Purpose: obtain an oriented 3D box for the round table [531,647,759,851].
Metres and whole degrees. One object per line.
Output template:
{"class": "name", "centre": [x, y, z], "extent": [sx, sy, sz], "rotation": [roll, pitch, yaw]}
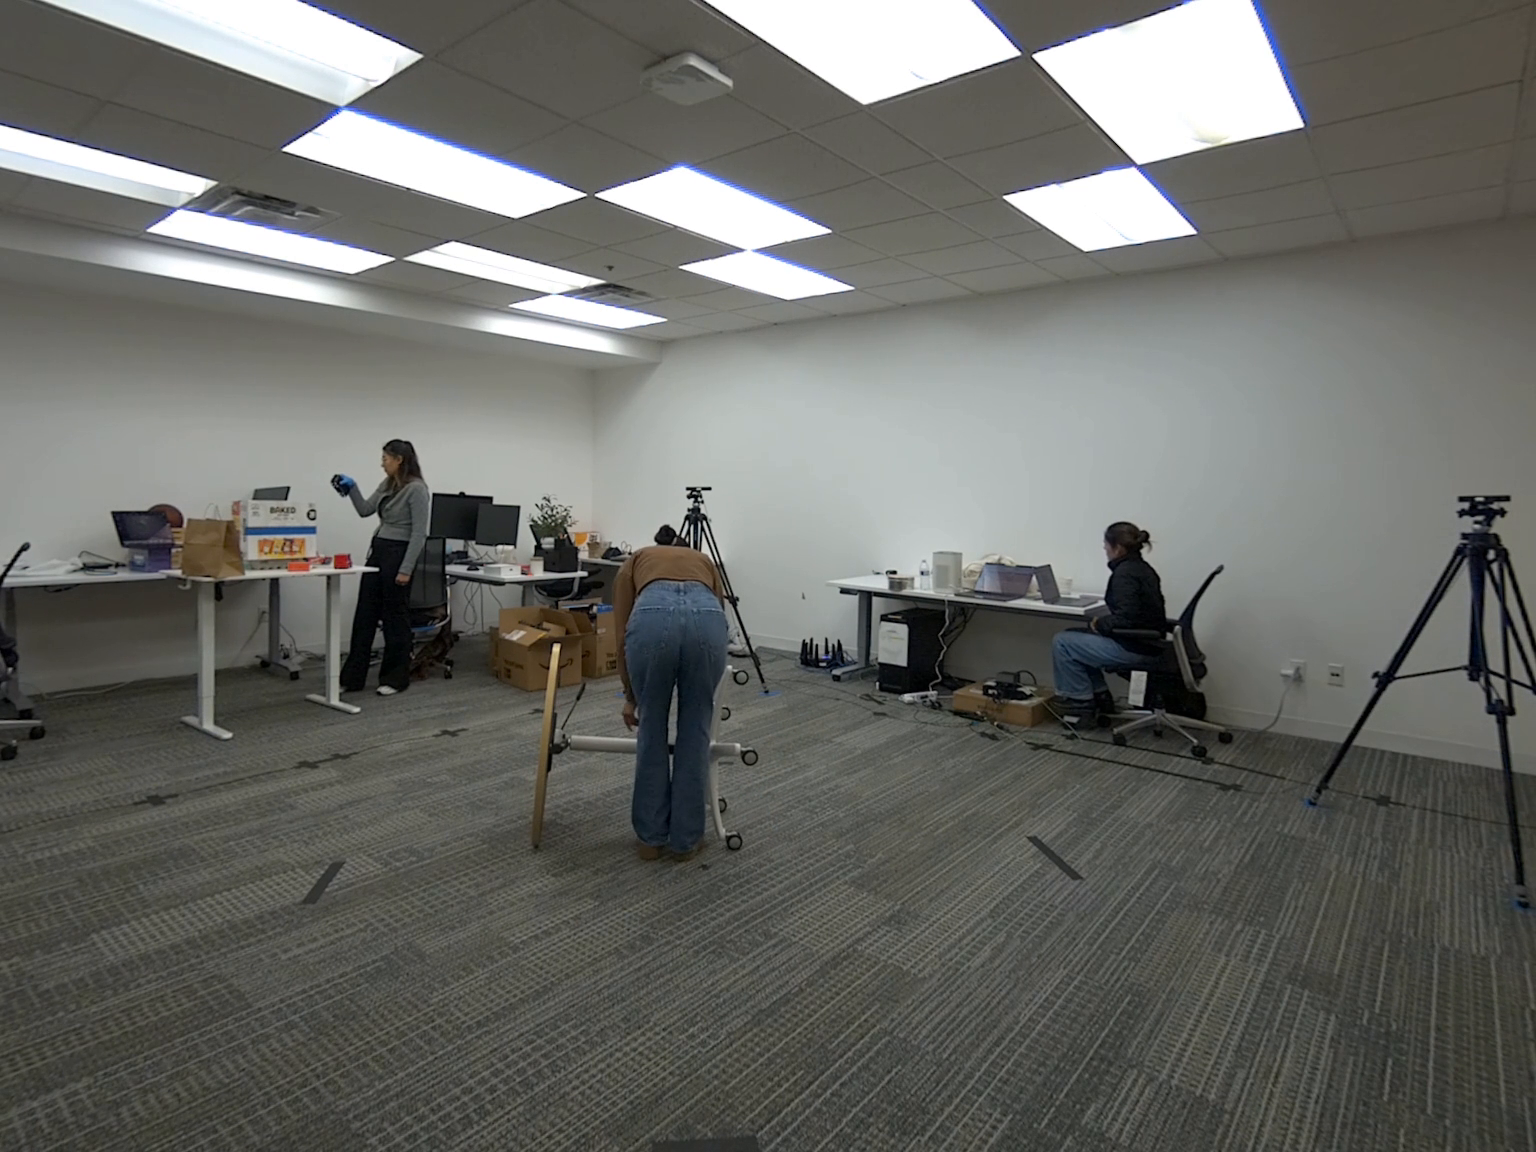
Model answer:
{"class": "round table", "centre": [-0.515, 0.689, 3.425], "extent": [0.785, 0.762, 0.774], "rotation": [6, 3, -11]}
